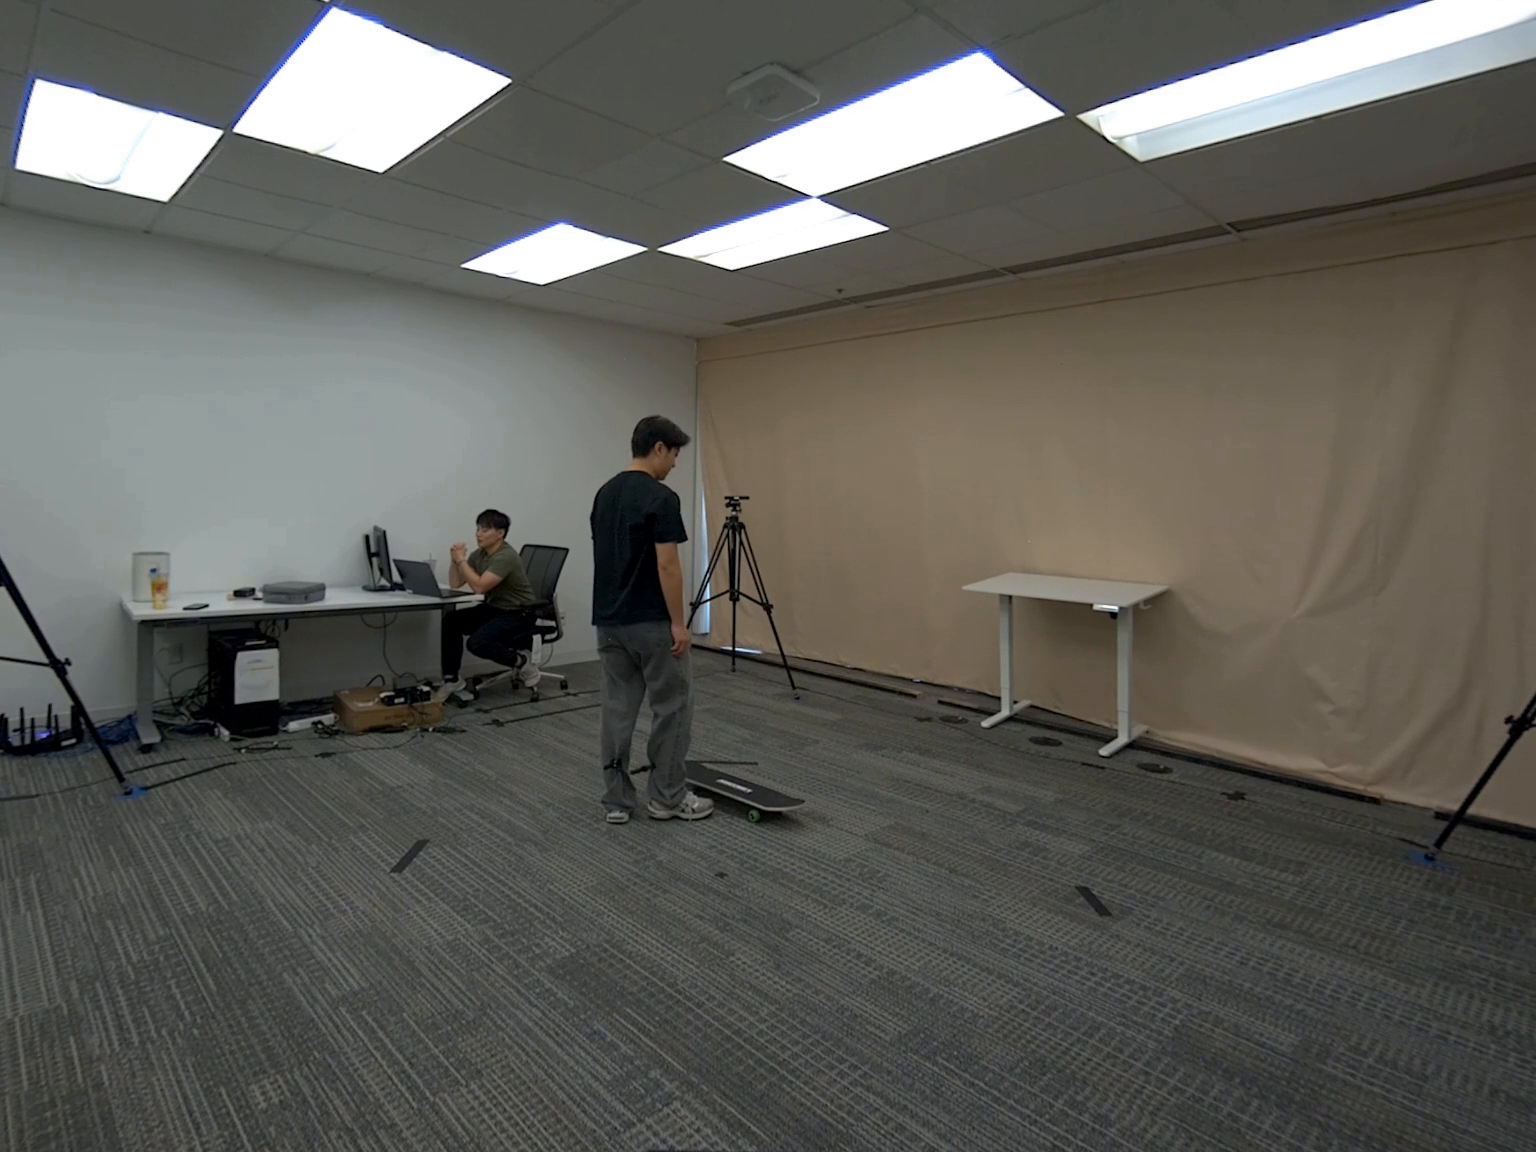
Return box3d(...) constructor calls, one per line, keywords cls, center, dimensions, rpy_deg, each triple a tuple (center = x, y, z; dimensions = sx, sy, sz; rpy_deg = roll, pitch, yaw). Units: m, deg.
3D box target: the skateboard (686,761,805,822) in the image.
box3d(cls="skateboard", center=(-0.163, 0.985, 3.824), dimensions=(0.806, 0.110, 0.189), rpy_deg=(6, 7, 43))
